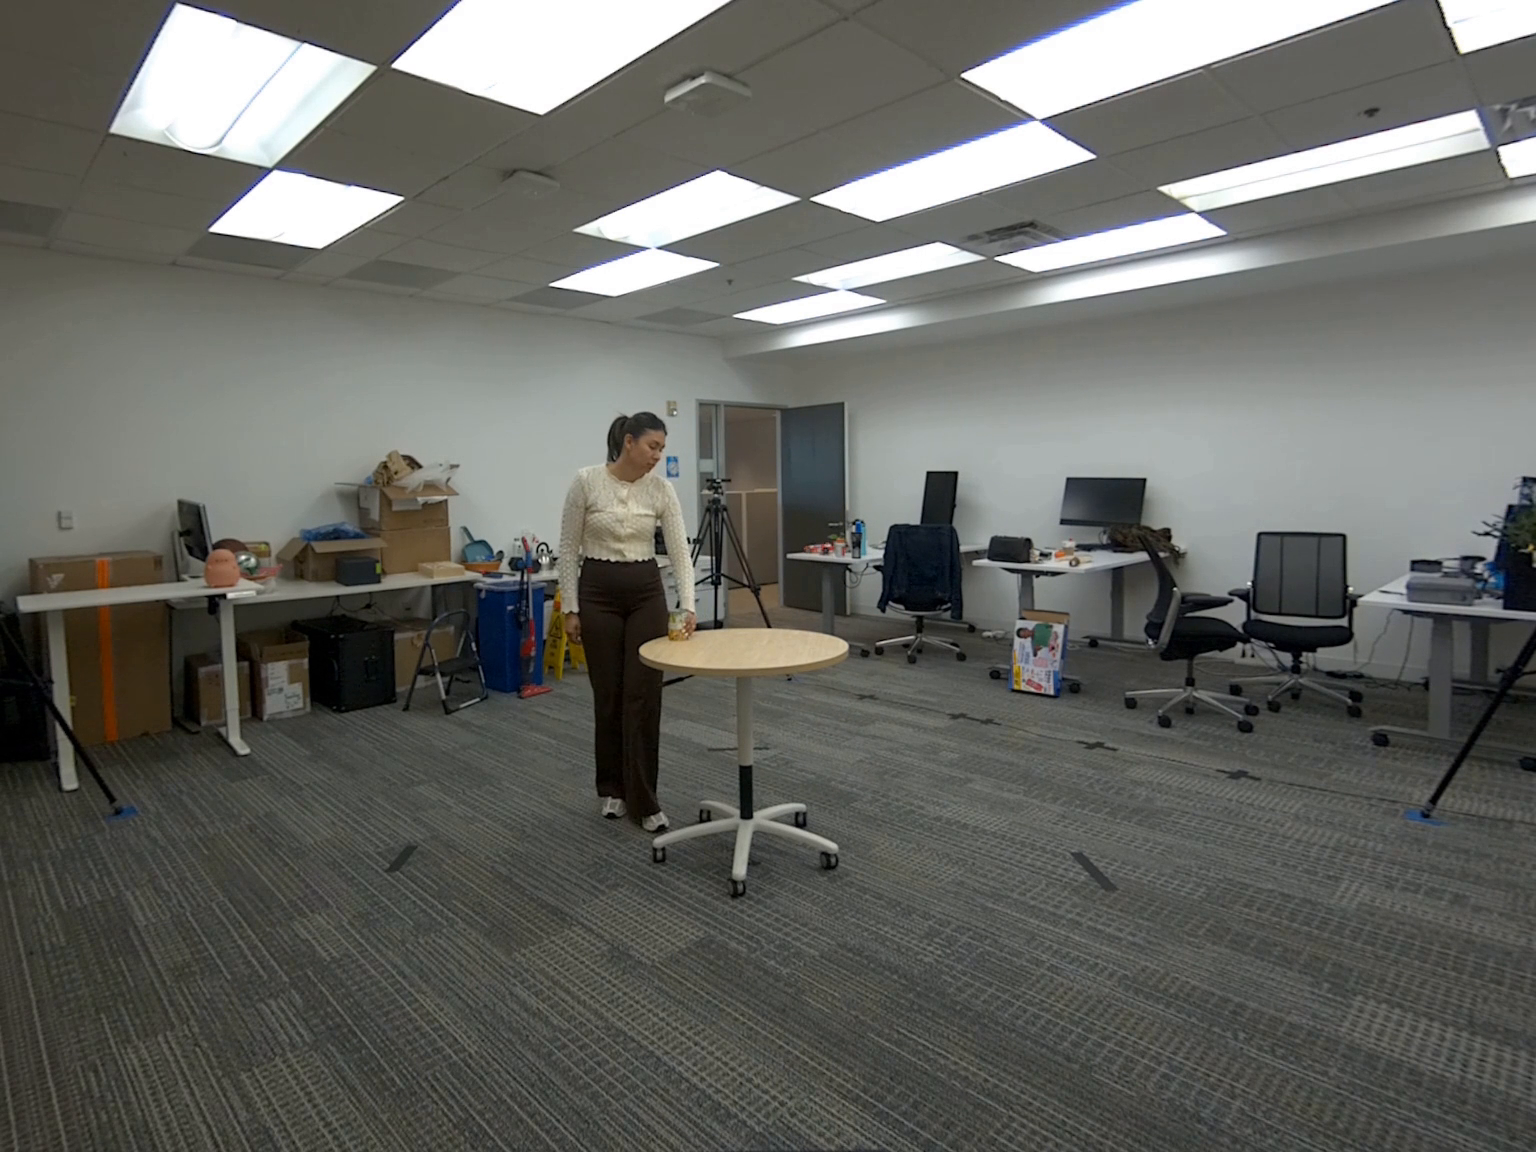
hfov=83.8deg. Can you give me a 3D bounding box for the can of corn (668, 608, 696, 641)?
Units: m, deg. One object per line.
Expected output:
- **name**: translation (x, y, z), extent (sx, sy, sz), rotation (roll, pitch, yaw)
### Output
- **can of corn**: translation (-0.343, 0.188, 3.302), extent (0.074, 0.111, 0.074), rotation (-1, 4, -2)
